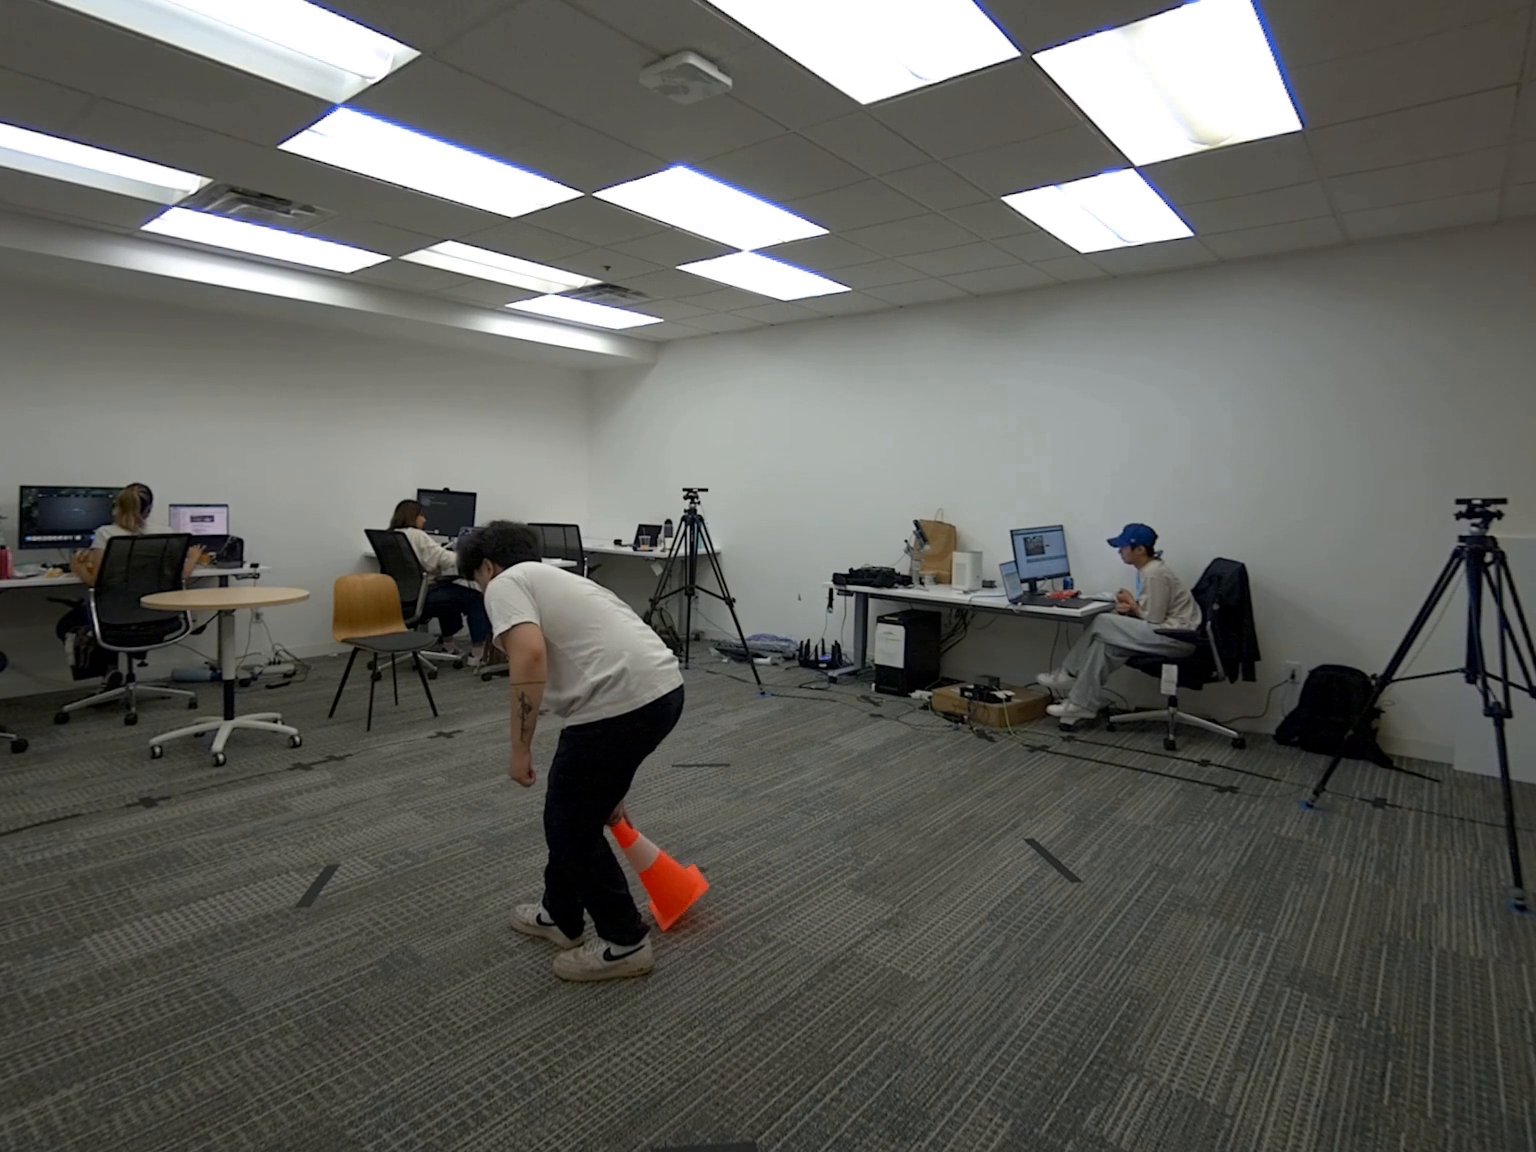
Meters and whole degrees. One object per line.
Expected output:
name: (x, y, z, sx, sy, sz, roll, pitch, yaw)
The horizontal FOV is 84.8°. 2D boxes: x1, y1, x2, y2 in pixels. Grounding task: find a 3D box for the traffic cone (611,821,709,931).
traffic cone: (-0.405, 0.894, 2.731, 0.203, 0.378, 0.208, -39, 10, -11)
